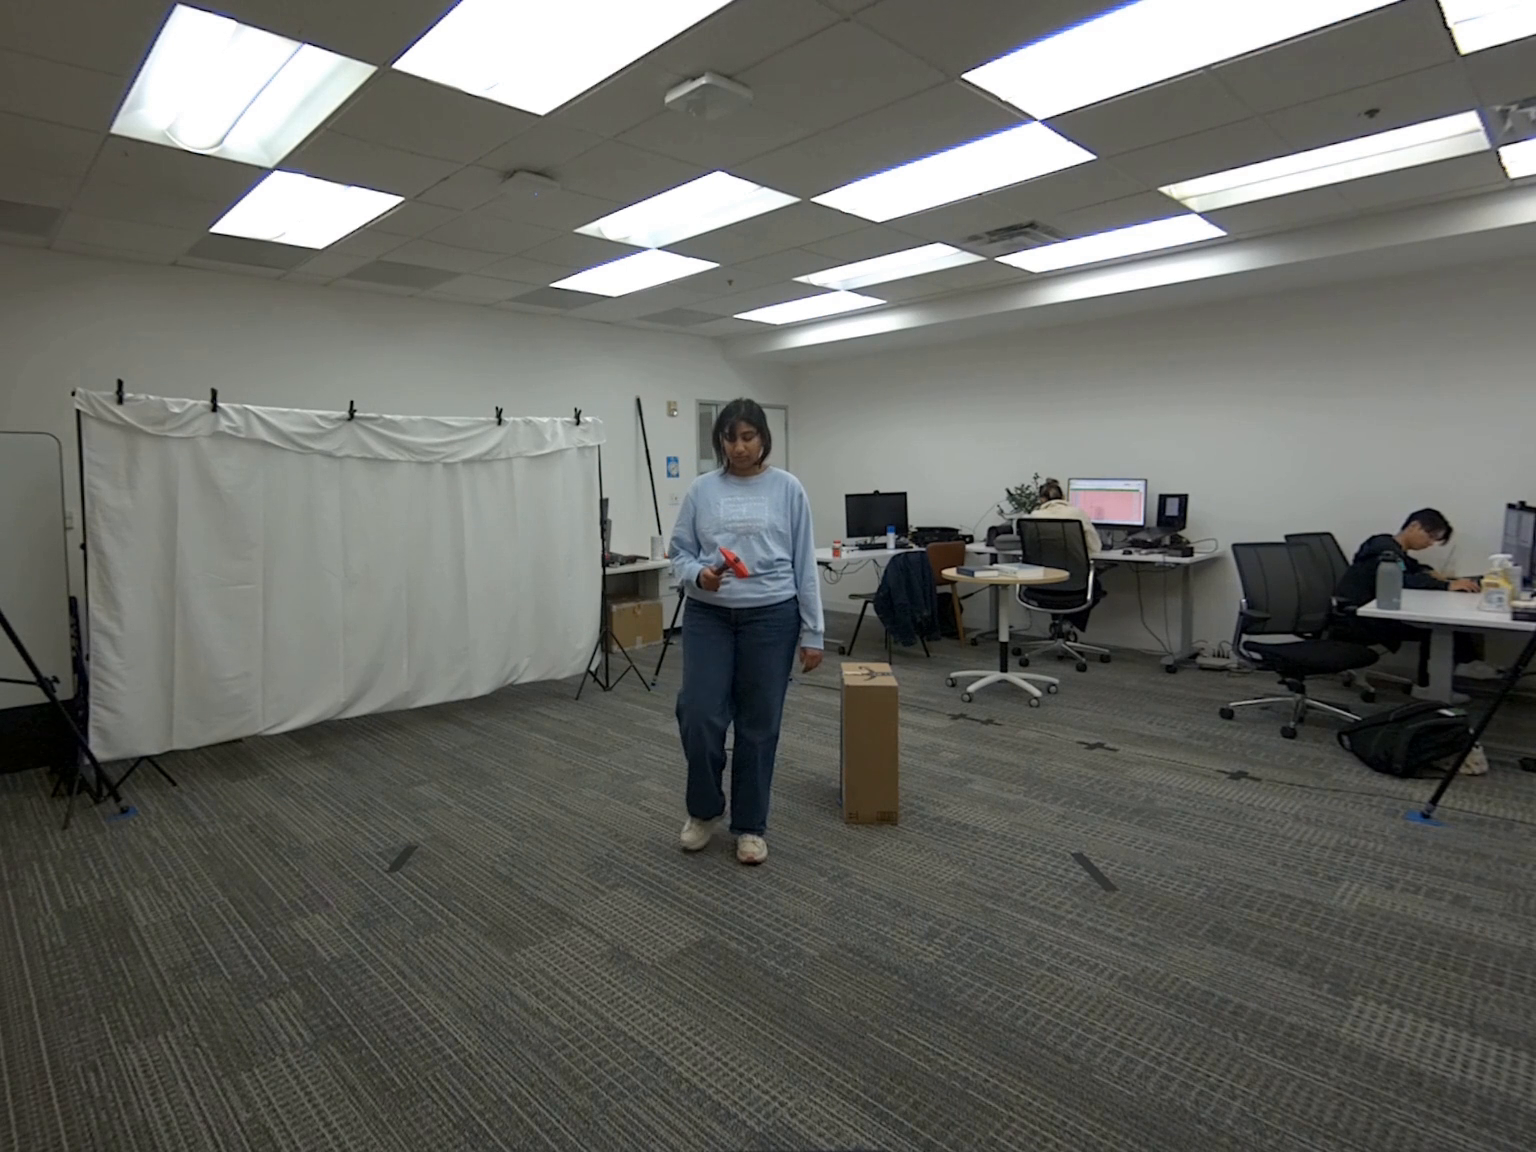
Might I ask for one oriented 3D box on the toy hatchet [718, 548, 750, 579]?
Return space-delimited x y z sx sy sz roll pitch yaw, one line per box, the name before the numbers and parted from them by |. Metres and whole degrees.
toy hatchet | -0.137 0.002 2.899 0.133 0.029 0.266 37 -28 9
